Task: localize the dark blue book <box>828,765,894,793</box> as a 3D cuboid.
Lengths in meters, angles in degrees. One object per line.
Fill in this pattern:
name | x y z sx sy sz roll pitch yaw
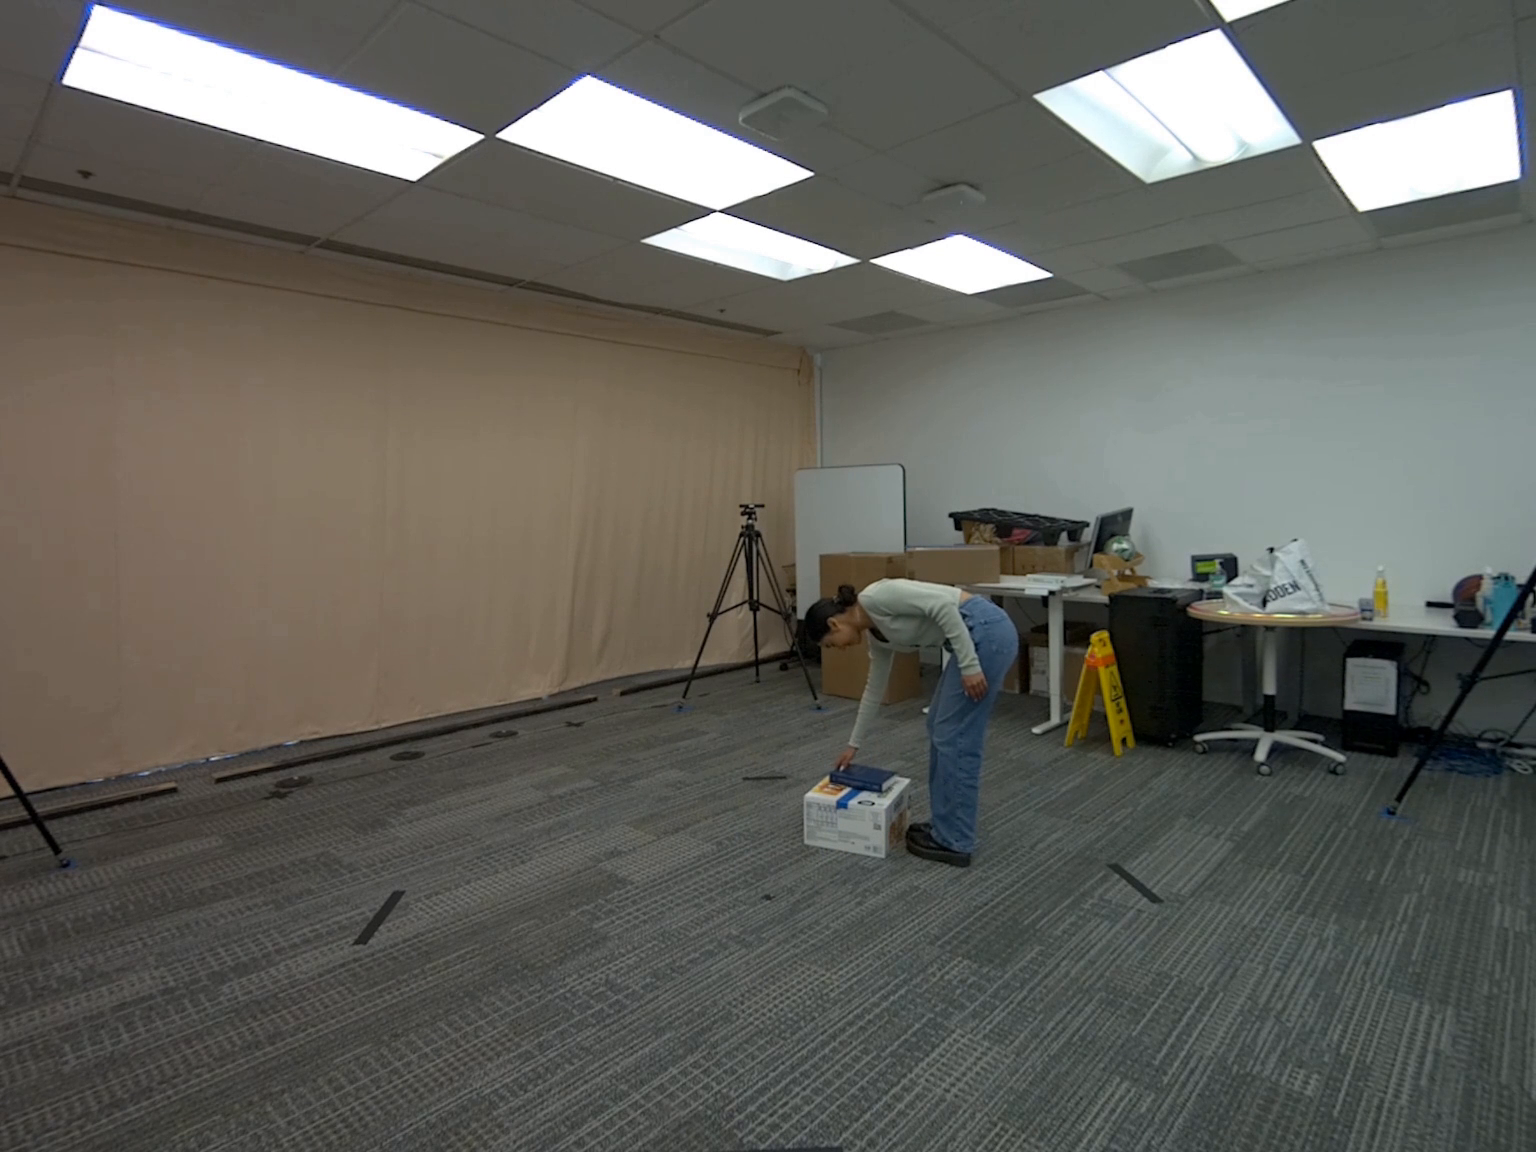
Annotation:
dark blue book | 0.416 0.867 3.602 0.252 0.045 0.159 2 5 32
